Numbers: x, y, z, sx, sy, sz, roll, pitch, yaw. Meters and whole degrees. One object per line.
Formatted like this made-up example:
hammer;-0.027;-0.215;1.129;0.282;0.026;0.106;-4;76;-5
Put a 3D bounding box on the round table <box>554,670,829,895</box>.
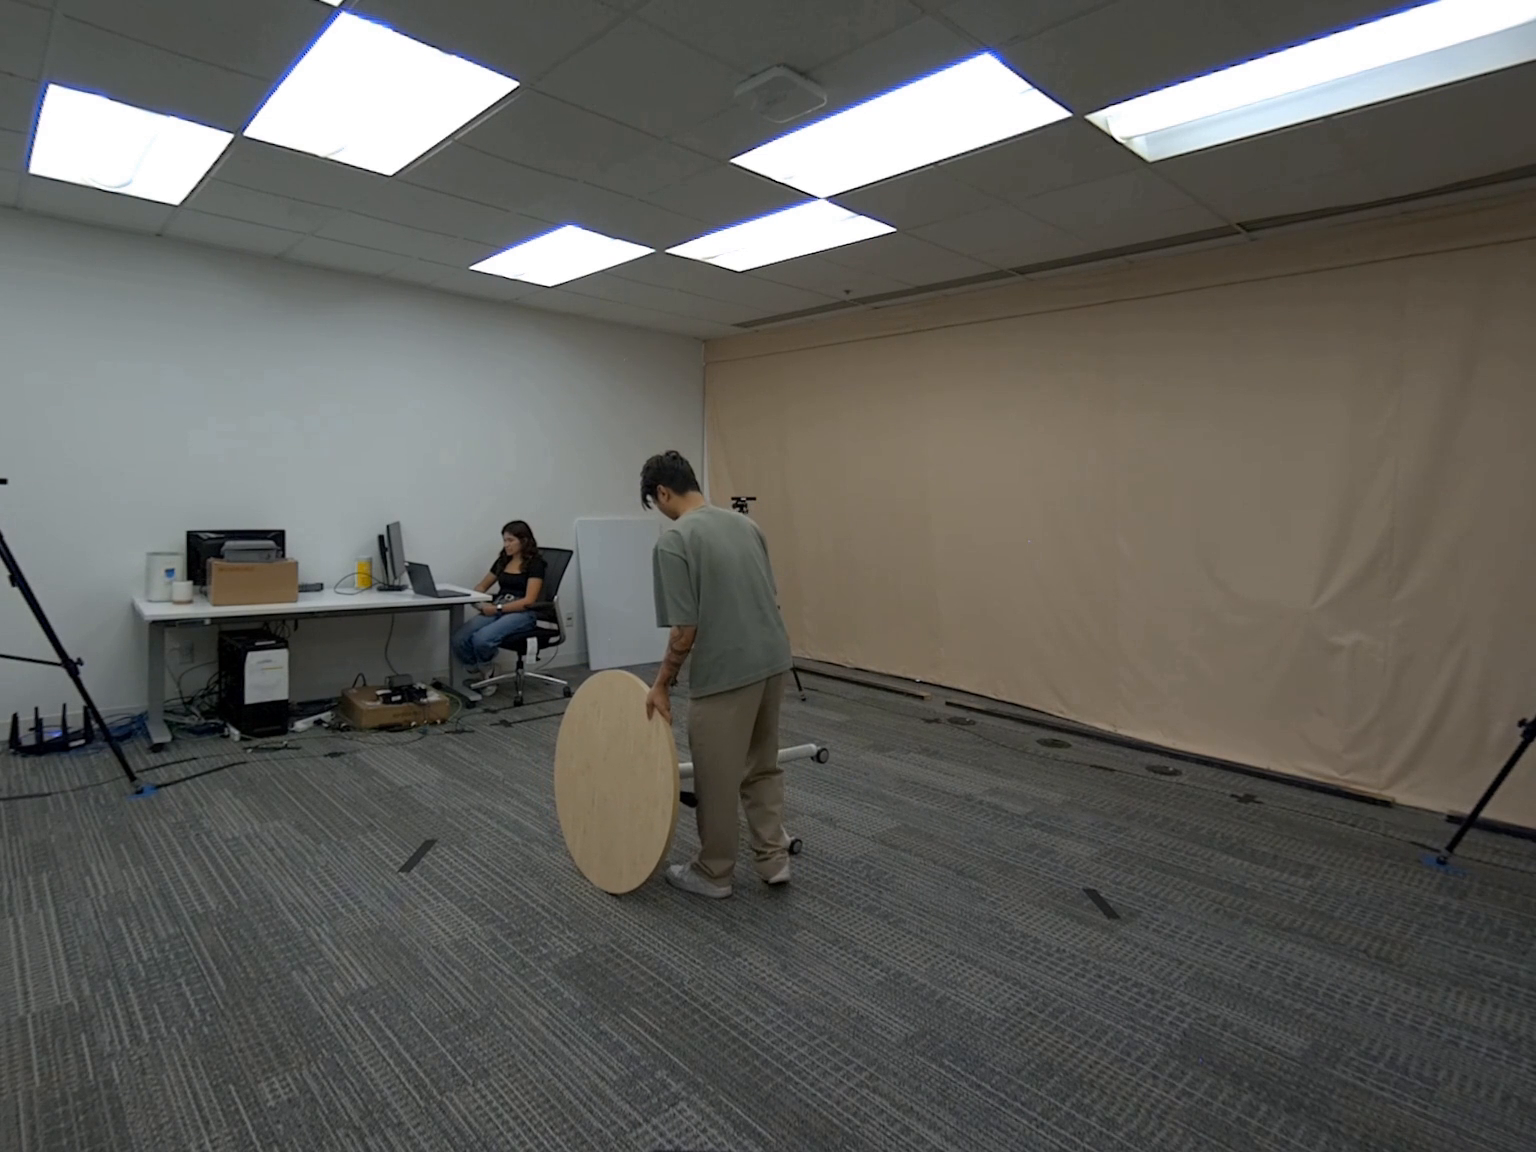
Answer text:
round table;-0.294;0.756;3.269;0.766;0.786;0.805;7;-1;-42
